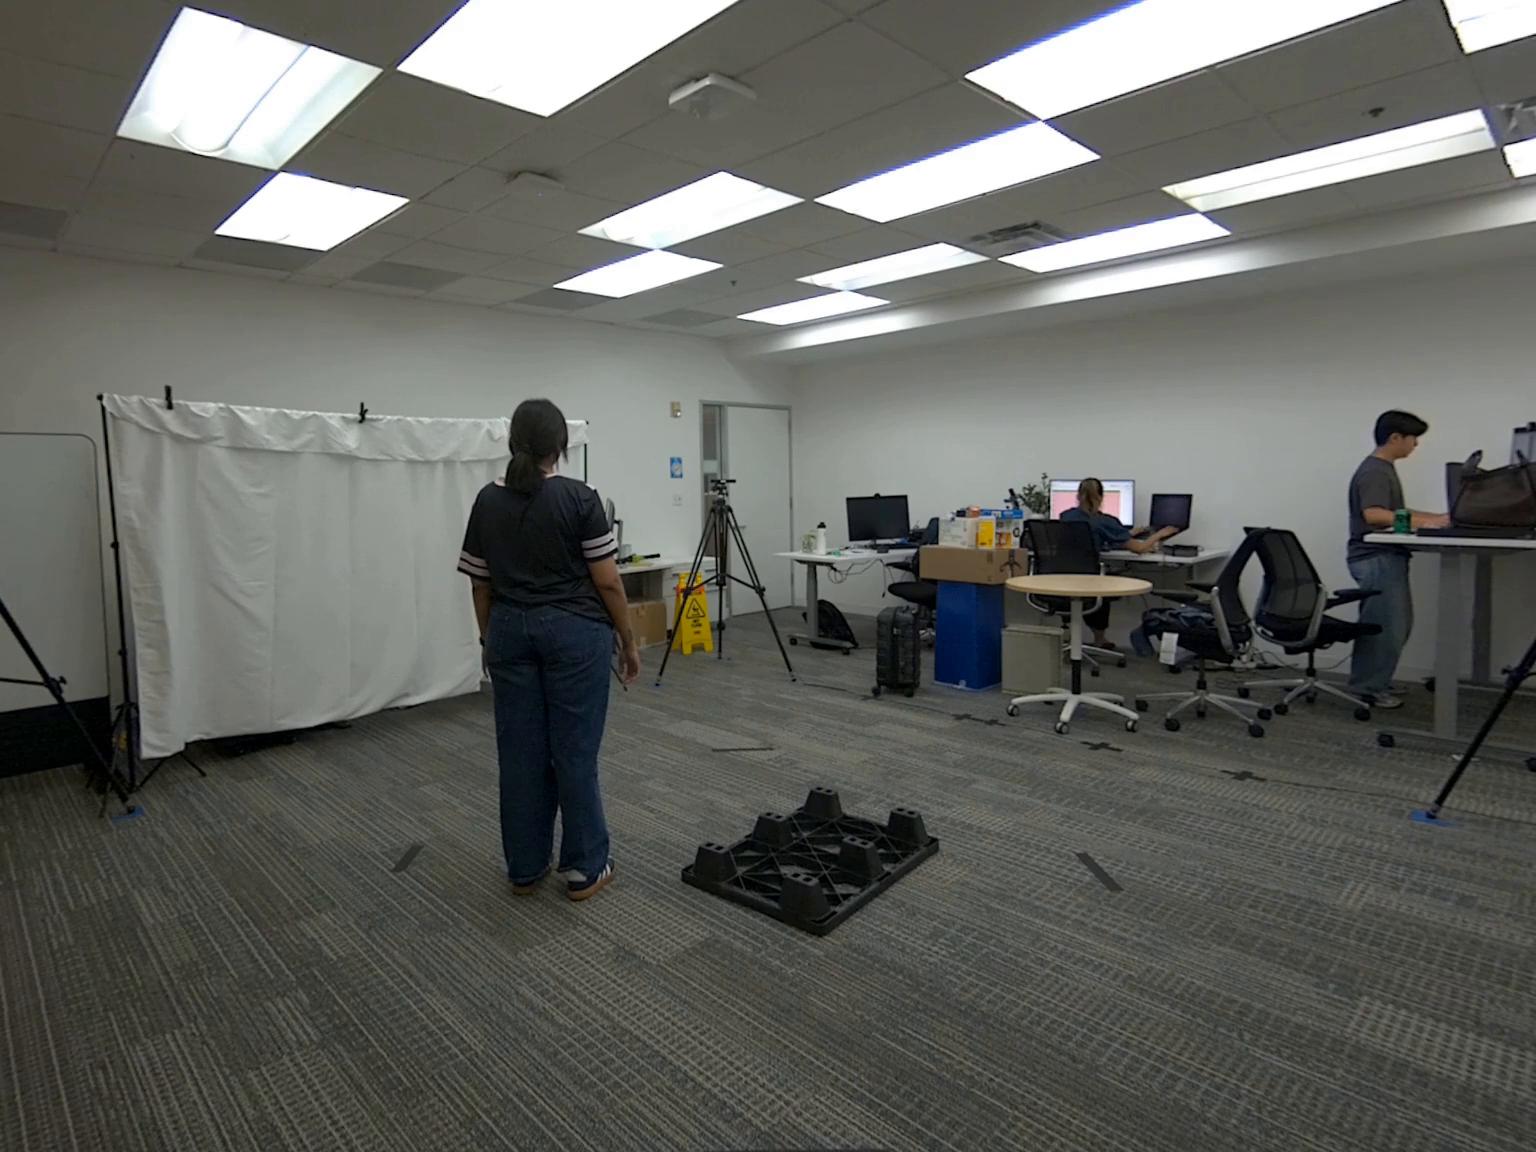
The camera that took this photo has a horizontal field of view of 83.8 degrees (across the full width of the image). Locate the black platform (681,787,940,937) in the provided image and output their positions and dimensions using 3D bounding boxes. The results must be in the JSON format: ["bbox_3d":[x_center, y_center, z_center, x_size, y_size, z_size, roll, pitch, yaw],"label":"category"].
[{"bbox_3d":[0.172,0.981,3.083,0.623,0.142,0.785,4,8,38],"label":"black platform"}]
